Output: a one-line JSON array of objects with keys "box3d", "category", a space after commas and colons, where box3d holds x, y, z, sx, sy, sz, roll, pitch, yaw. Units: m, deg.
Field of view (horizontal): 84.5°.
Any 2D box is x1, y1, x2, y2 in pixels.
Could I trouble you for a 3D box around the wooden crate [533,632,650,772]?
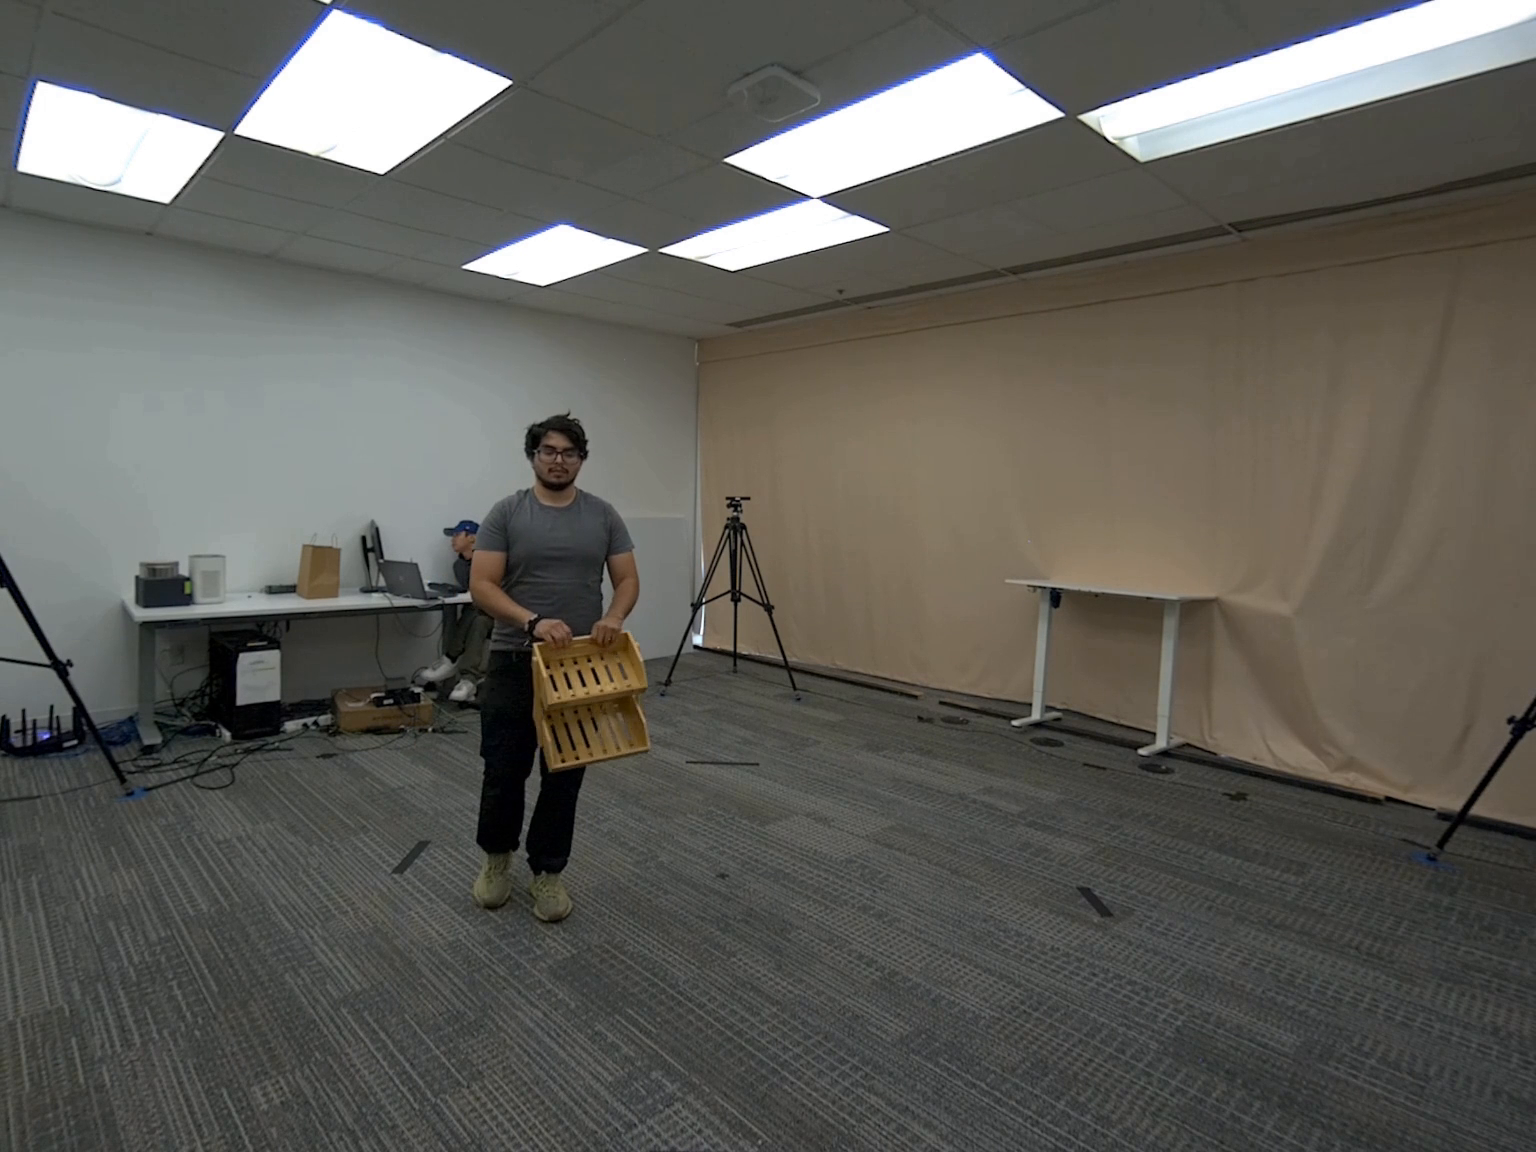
[{"box3d": [-0.535, 0.380, 2.540, 0.319, 0.269, 0.312, -7, 39, -26], "category": "wooden crate"}]
